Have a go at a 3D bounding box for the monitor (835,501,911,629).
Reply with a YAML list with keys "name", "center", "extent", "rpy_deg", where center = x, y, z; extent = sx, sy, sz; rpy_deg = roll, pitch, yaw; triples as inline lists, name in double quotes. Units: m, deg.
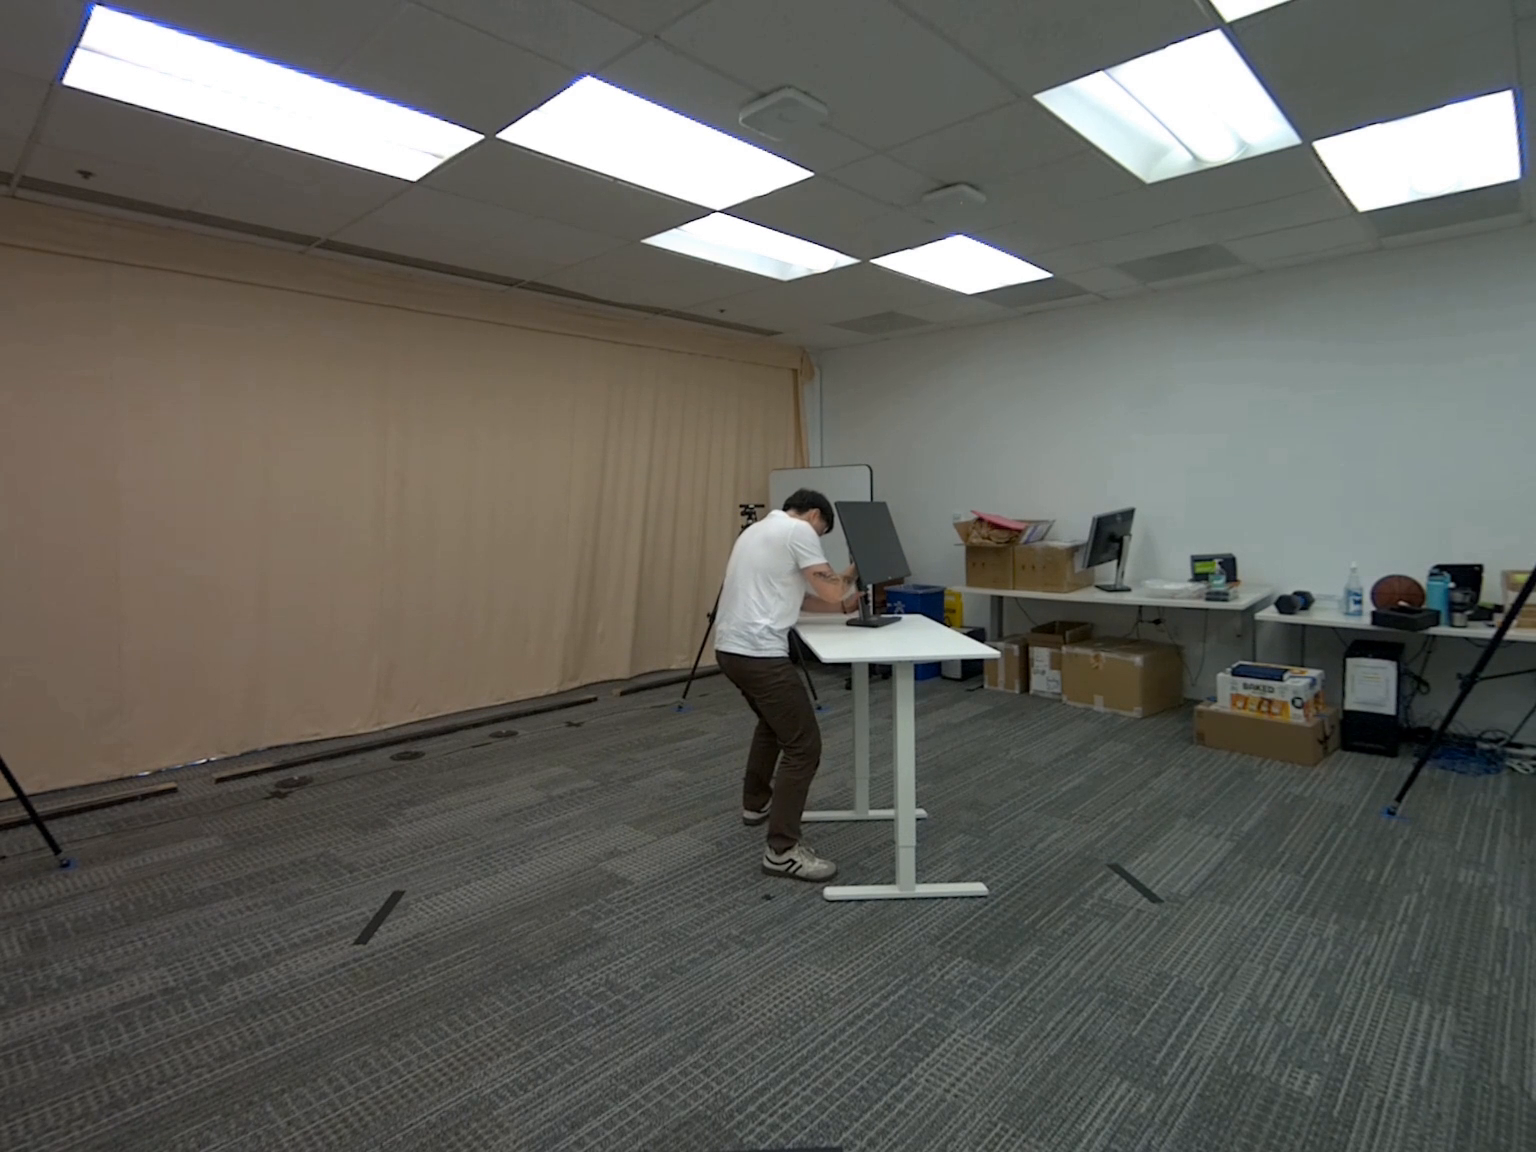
- name: "monitor"
  center: [0.430, -0.054, 3.573]
  extent: [0.192, 0.522, 0.526]
  rpy_deg: [-5, 1, 26]
